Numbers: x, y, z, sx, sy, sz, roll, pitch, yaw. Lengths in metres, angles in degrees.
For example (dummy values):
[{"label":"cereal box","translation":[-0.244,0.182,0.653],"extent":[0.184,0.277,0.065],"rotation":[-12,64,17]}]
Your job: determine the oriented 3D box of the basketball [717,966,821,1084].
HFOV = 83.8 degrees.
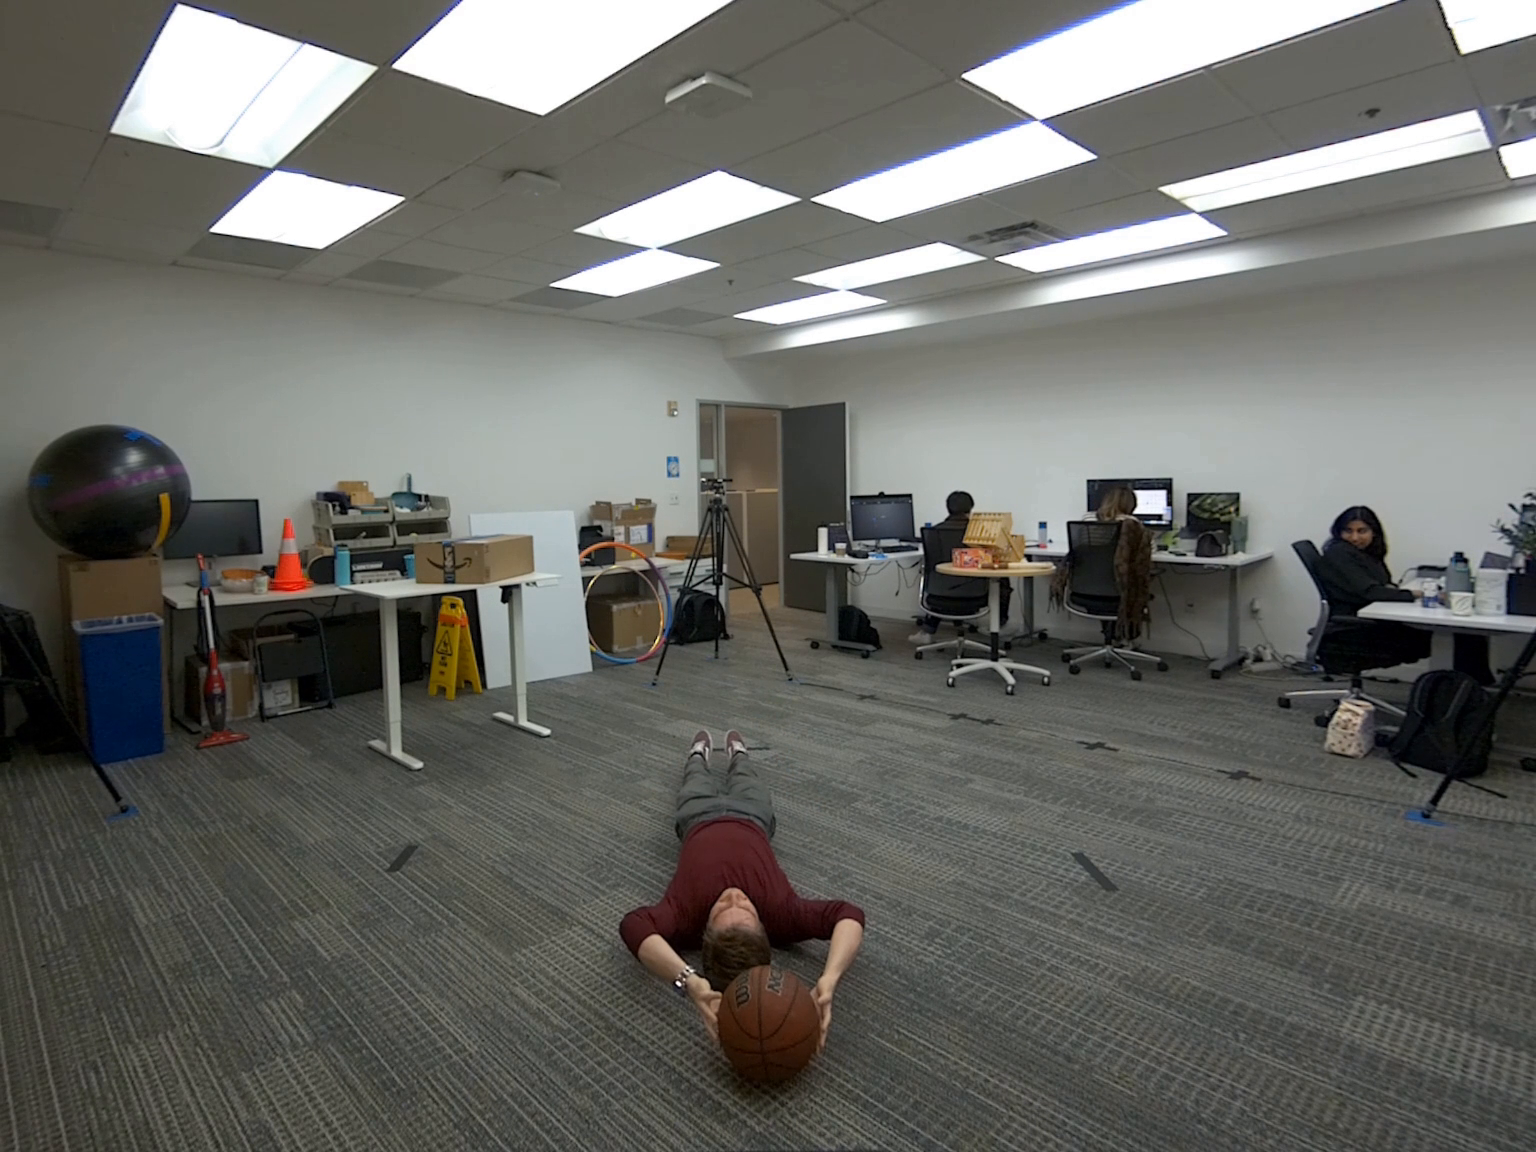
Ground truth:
[{"label":"basketball","translation":[0.010,1.054,2.013],"extent":[0.236,0.235,0.237],"rotation":[-1,5,-2]}]
